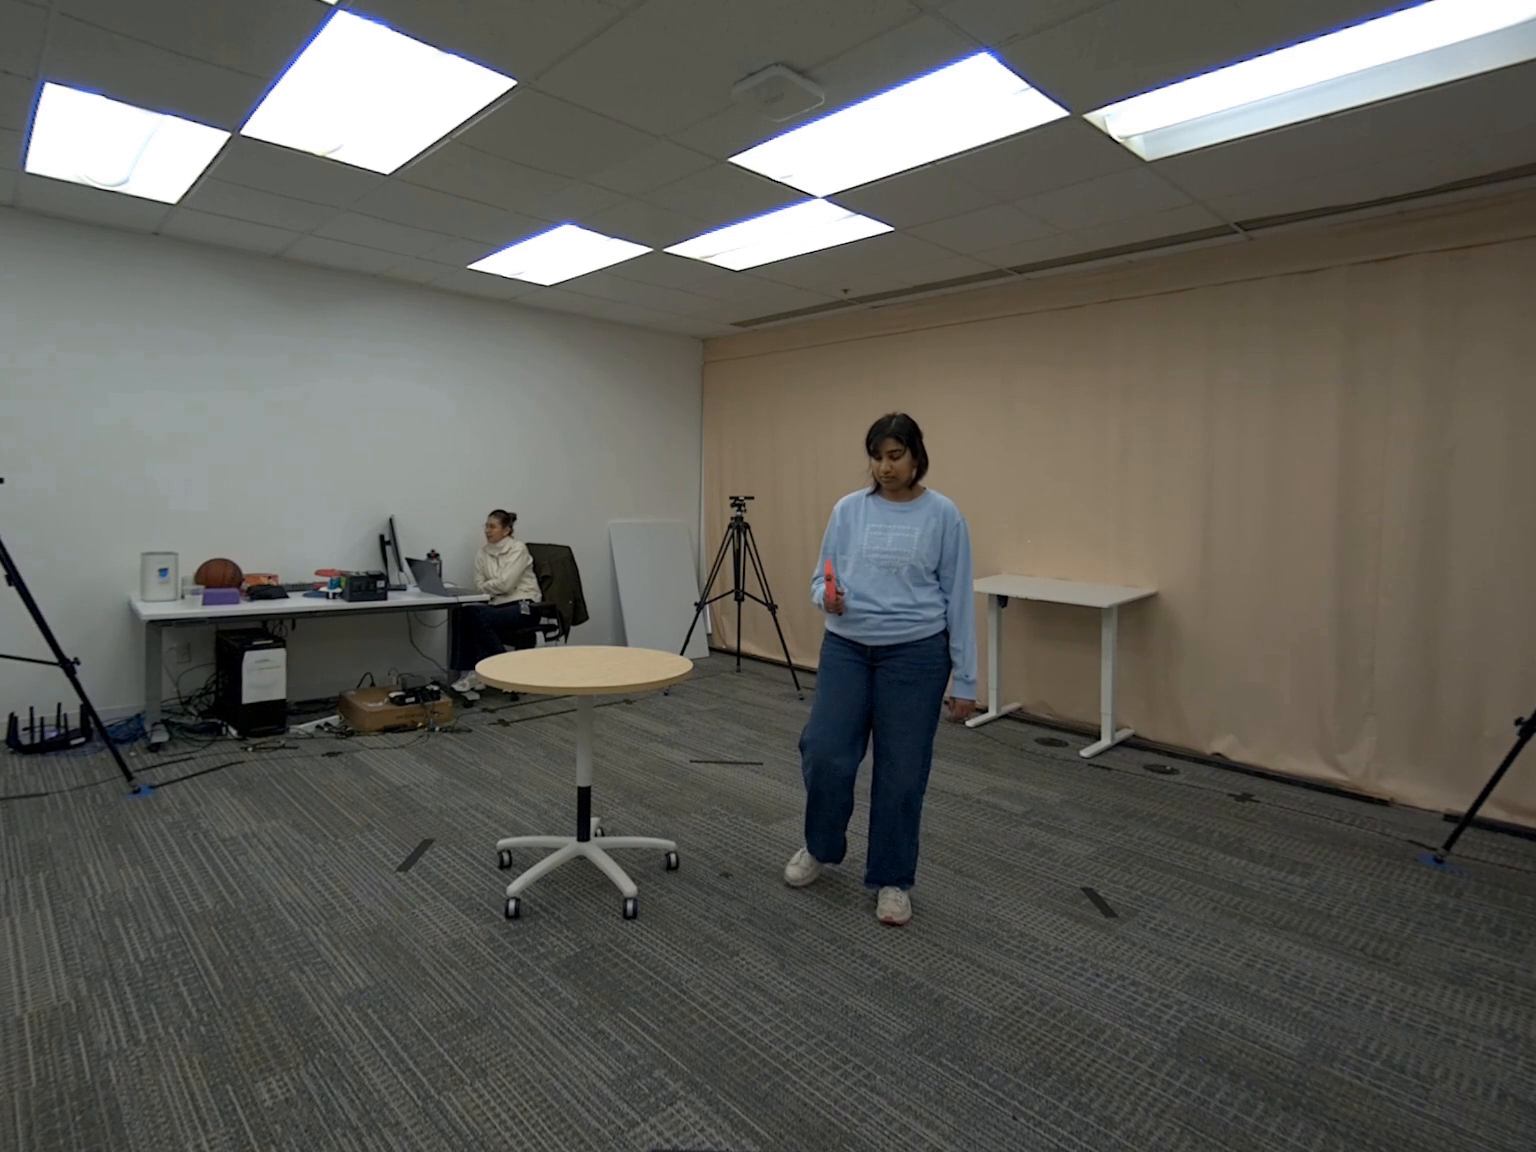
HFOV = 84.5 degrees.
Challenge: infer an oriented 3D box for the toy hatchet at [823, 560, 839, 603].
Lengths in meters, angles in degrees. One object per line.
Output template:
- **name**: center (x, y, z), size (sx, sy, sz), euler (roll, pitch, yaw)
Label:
- **toy hatchet**: center (0.189, 0.071, 2.586), size (0.030, 0.134, 0.263), euler (-6, -37, 6)
